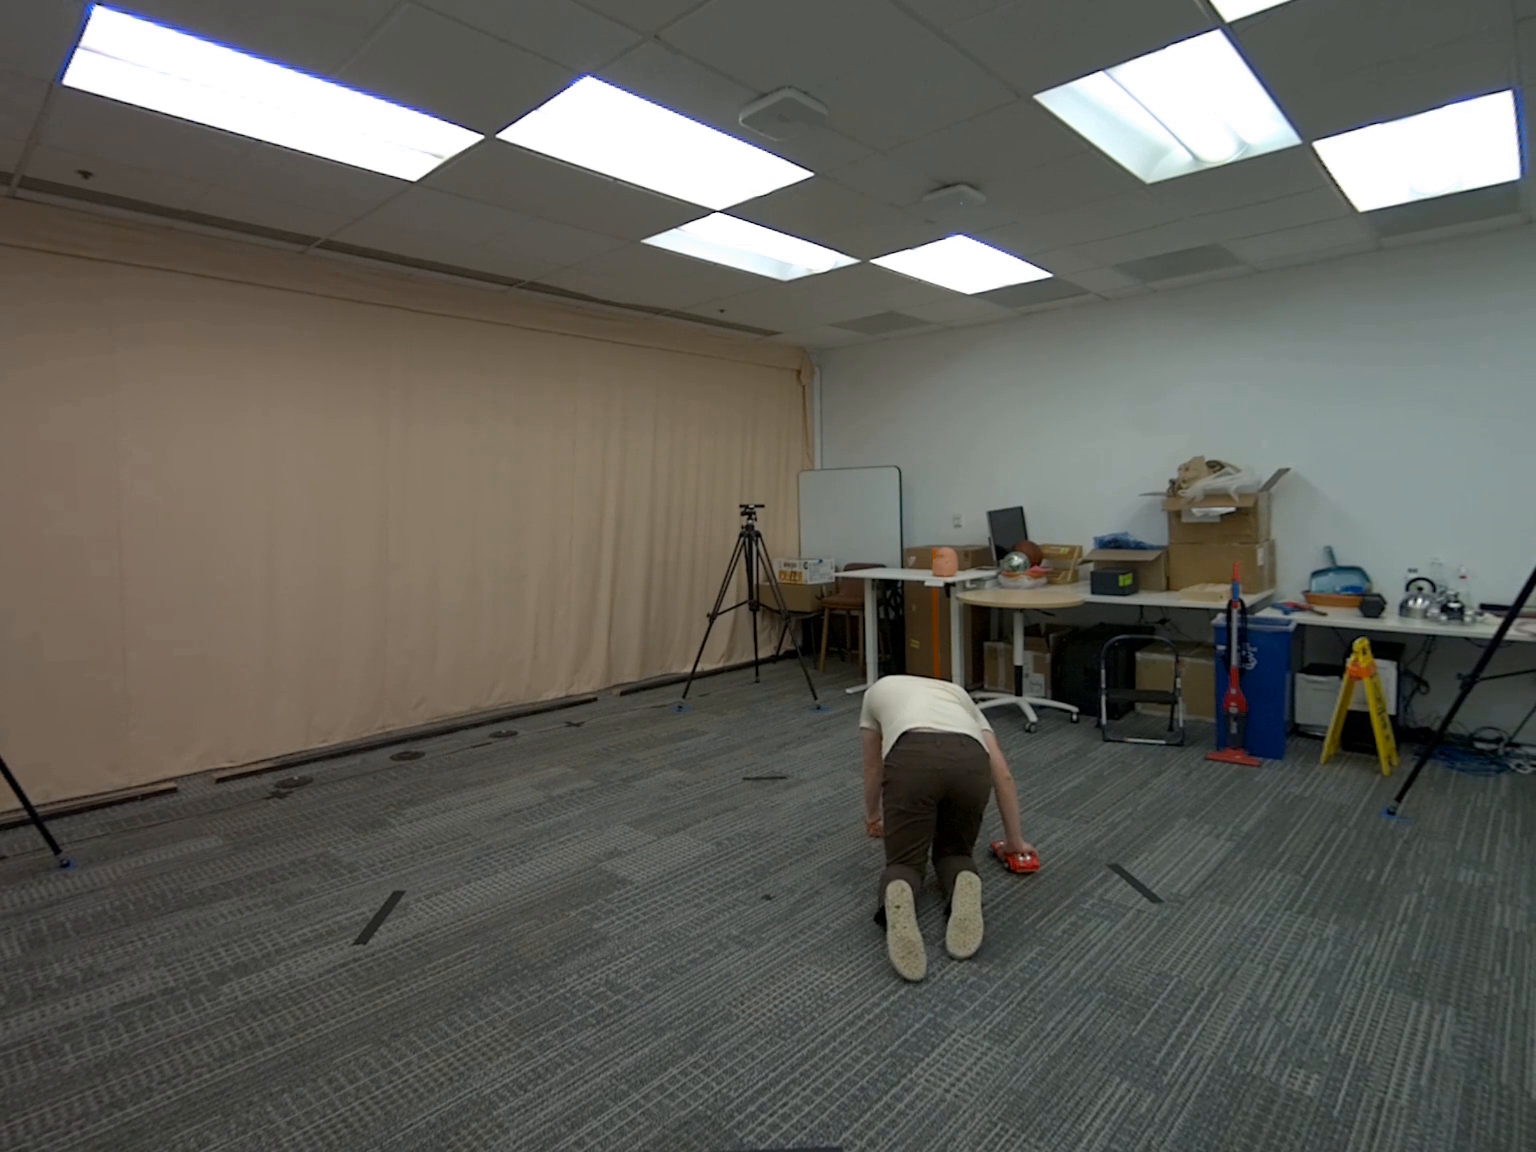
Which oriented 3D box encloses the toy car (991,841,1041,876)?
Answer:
[{"bbox_3d":[0.949,1.073,3.217,0.129,0.083,0.255,0,-6,-7],"label":"toy car"}]
